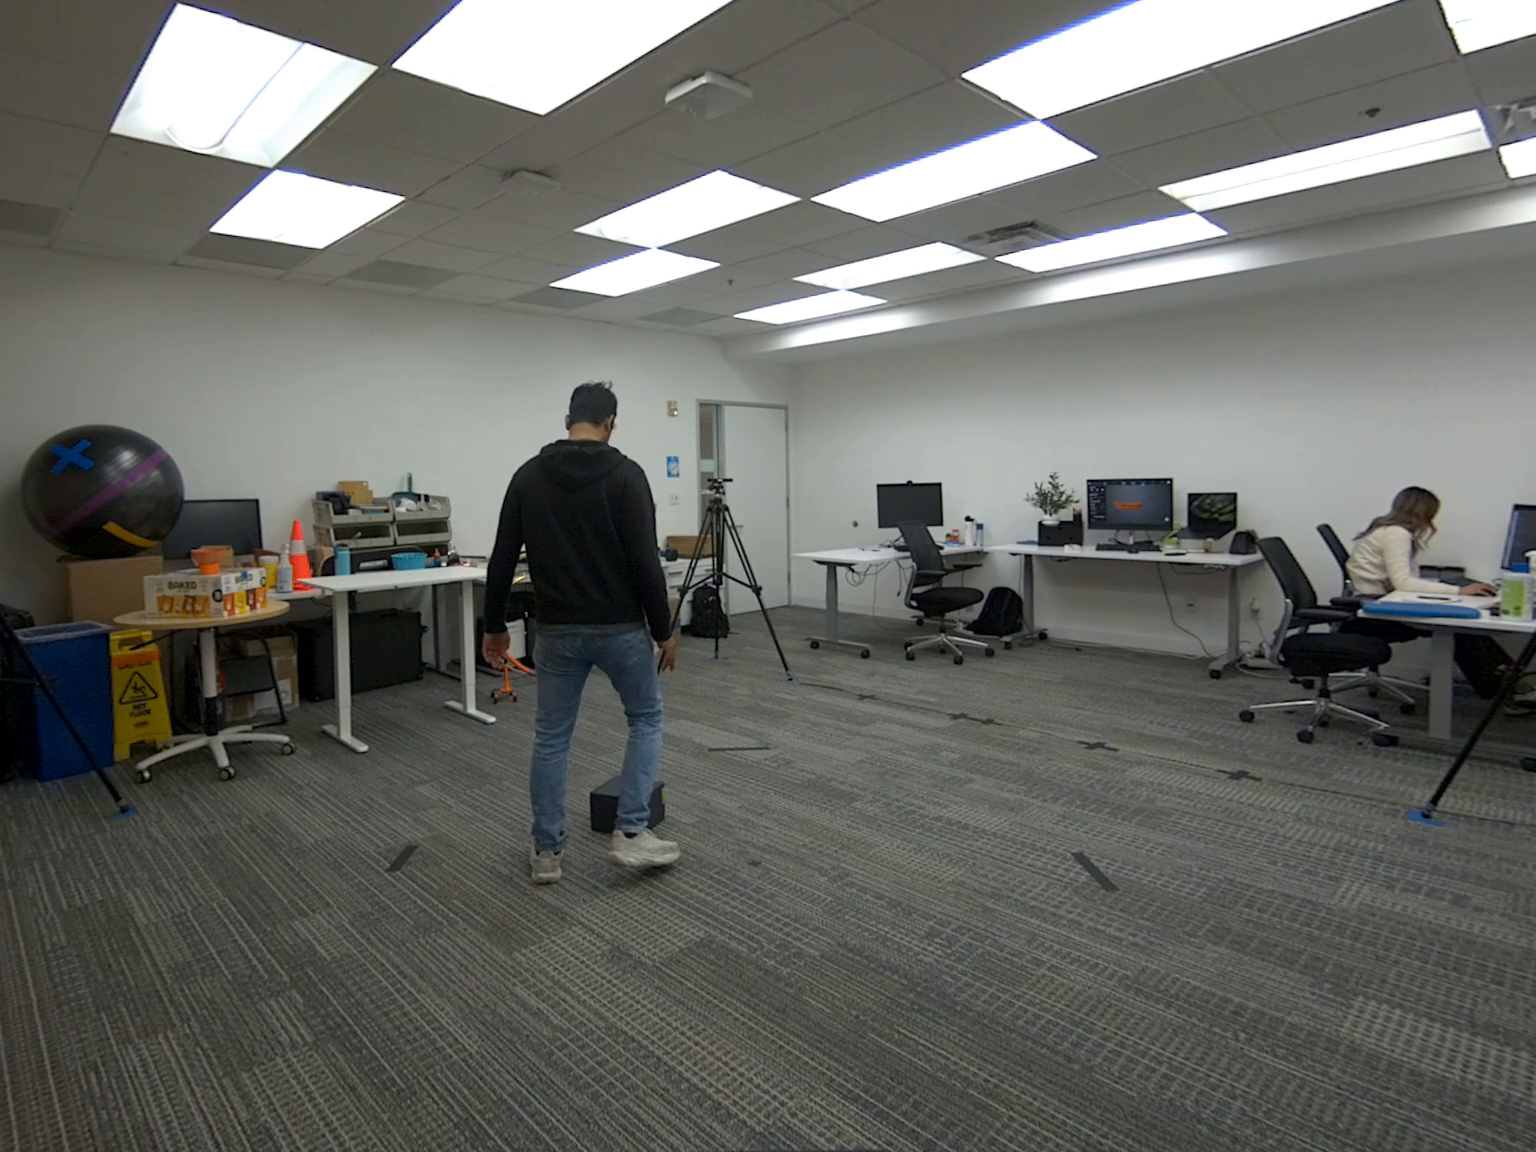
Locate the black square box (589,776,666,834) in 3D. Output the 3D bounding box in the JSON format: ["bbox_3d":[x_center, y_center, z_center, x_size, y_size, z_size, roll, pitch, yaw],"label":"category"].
[{"bbox_3d":[-0.567,0.928,3.469,0.233,0.155,0.213,1,5,22],"label":"black square box"}]
